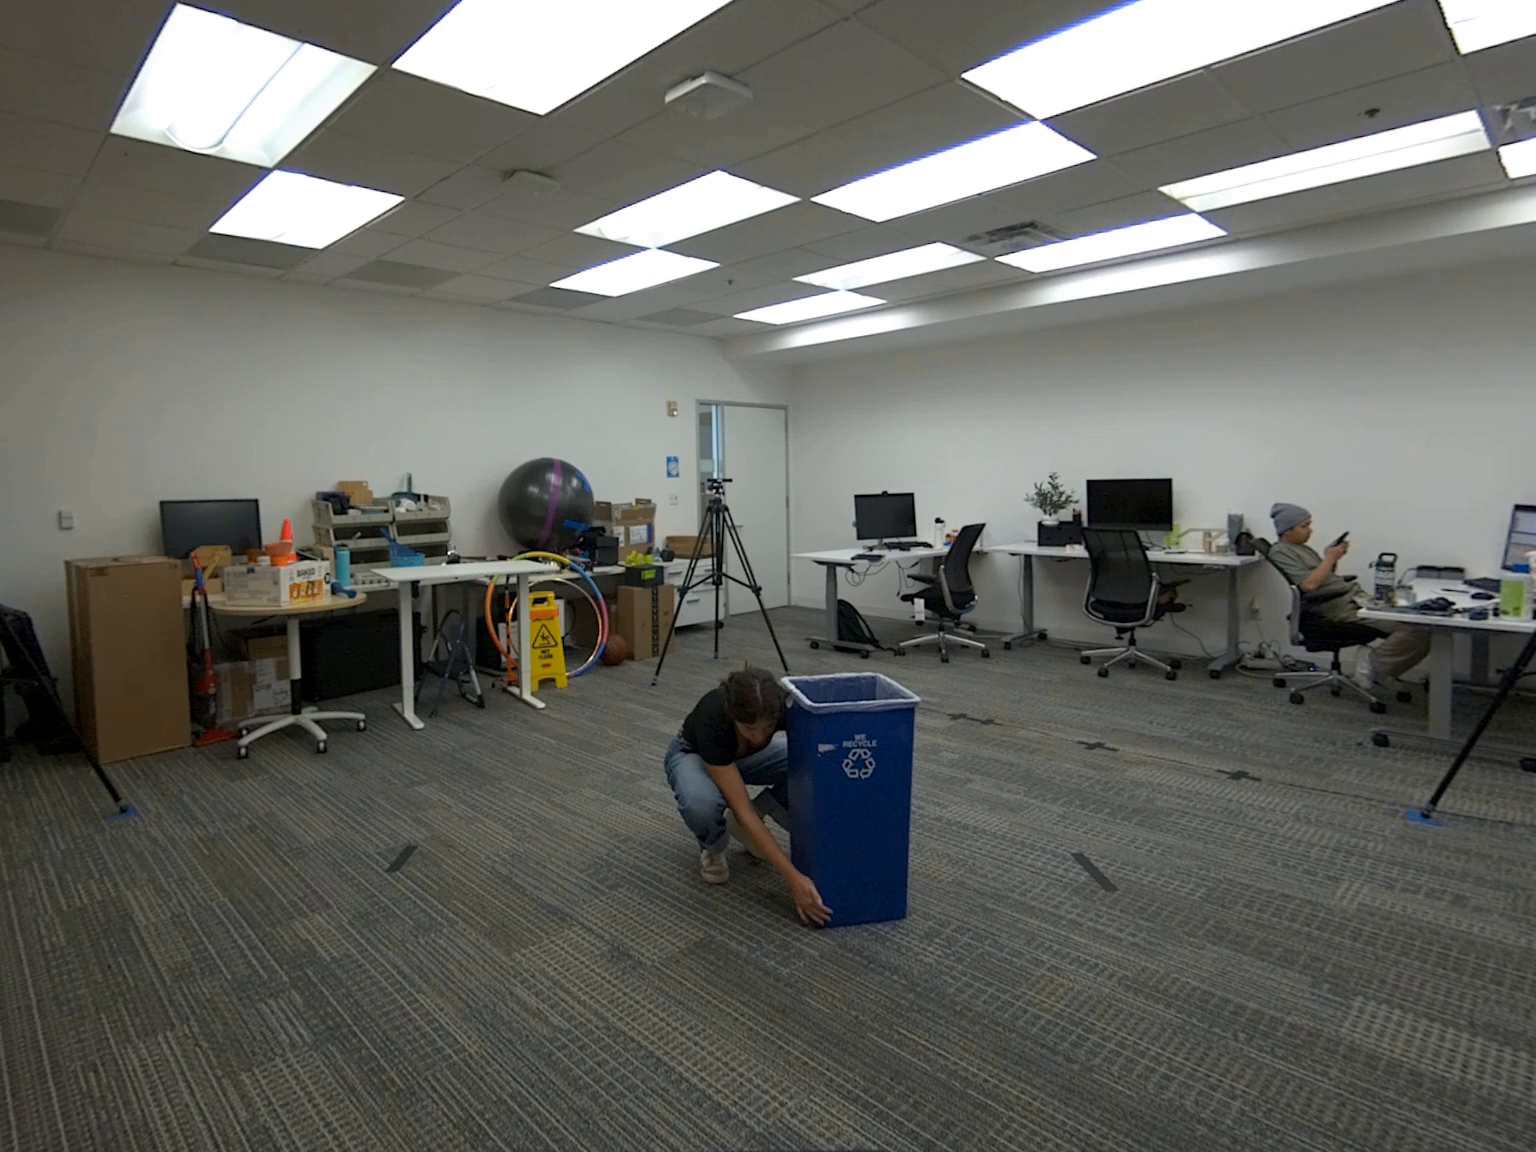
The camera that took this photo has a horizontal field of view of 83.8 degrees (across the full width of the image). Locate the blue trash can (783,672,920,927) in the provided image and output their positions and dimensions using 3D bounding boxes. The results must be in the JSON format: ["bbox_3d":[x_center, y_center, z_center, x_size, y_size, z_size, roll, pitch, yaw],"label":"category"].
[{"bbox_3d":[0.264,0.717,2.785,0.369,0.710,0.384,-2,5,-14],"label":"blue trash can"}]
